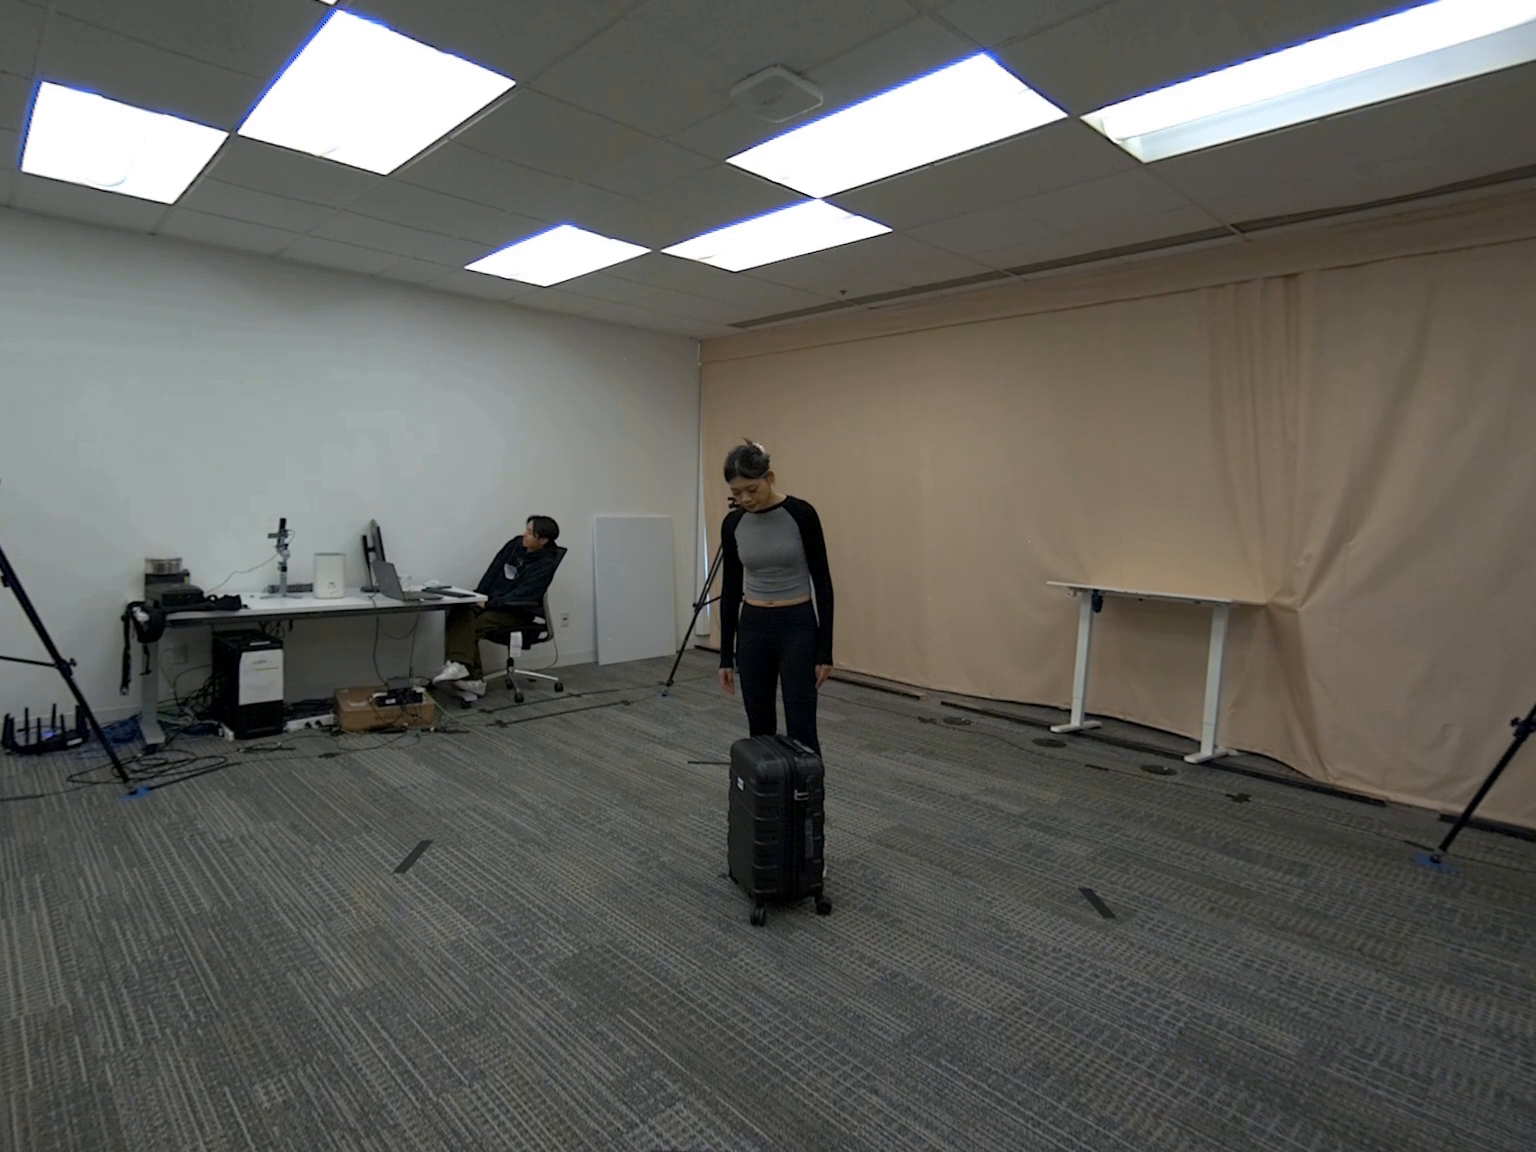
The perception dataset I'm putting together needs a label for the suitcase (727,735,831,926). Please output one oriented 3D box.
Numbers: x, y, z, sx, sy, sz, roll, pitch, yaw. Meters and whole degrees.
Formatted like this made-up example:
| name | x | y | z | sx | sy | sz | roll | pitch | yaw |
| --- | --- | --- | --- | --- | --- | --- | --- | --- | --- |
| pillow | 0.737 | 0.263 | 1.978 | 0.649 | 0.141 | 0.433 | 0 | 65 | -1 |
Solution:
| name | x | y | z | sx | sy | sz | roll | pitch | yaw |
| --- | --- | --- | --- | --- | --- | --- | --- | --- | --- |
| suitcase | 0.009 | 0.851 | 2.927 | 0.245 | 0.548 | 0.381 | 0 | 5 | -16 |
